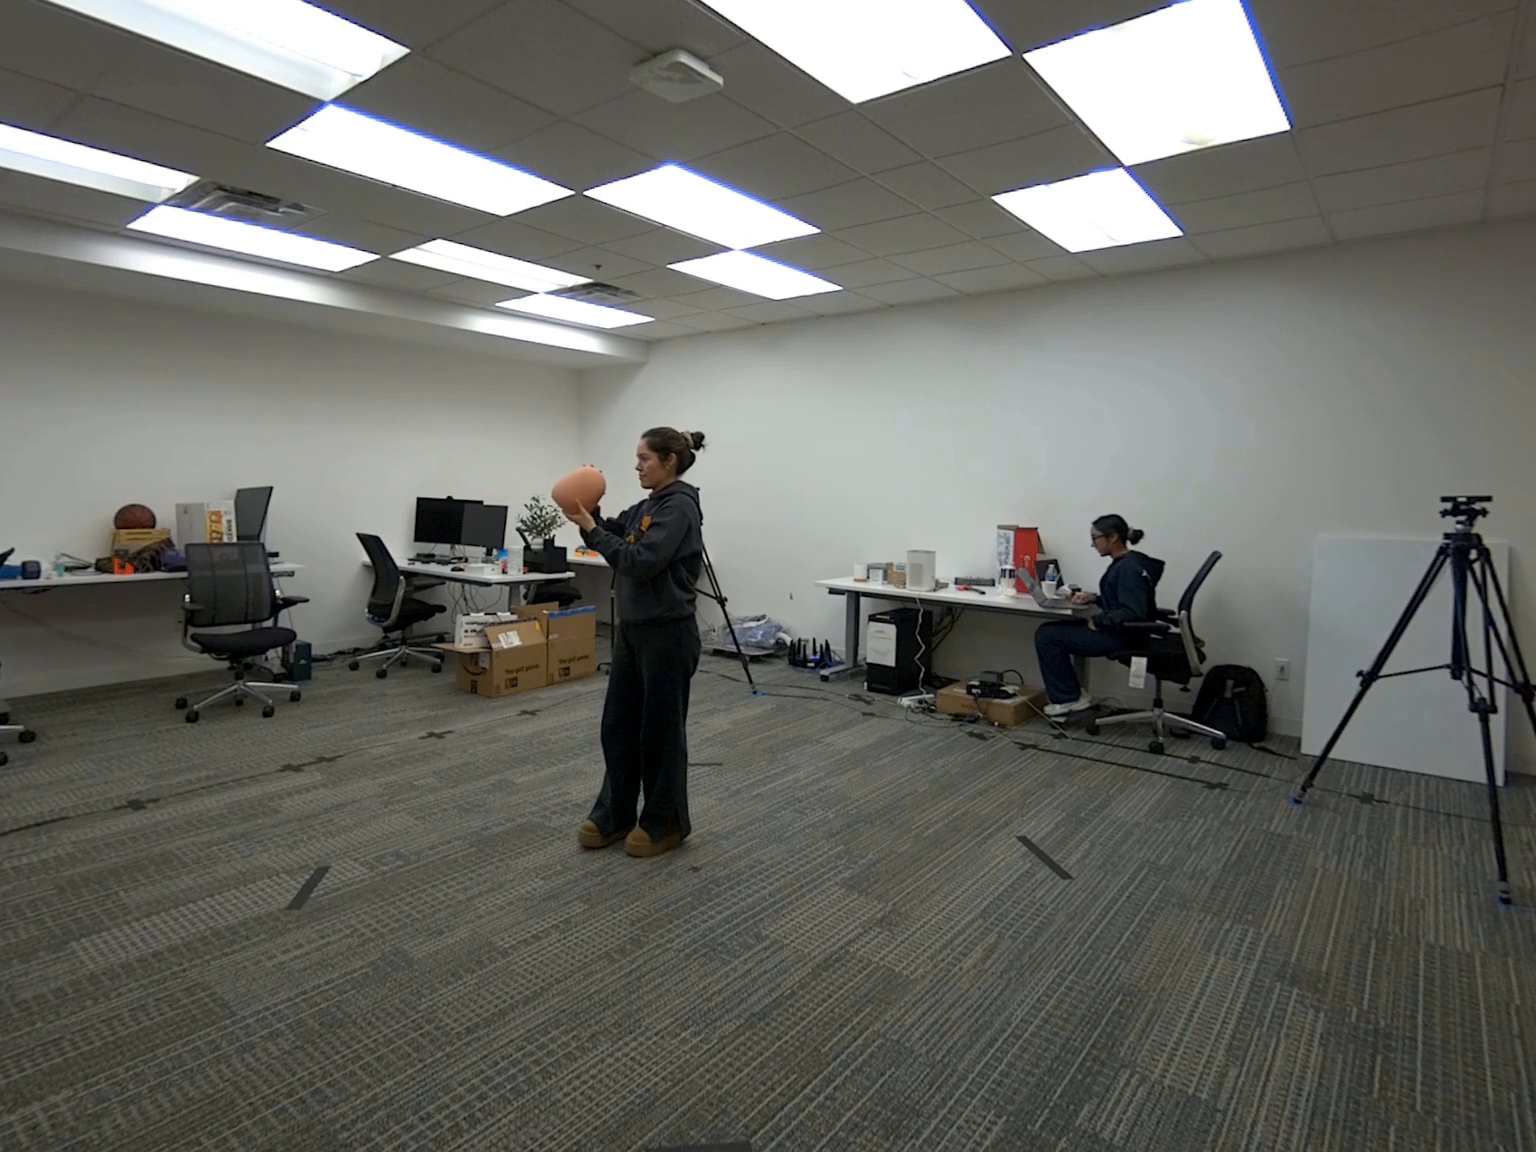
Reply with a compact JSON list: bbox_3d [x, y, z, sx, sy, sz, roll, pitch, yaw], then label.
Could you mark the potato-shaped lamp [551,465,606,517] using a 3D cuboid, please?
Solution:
[{"bbox_3d":[-0.704,-0.326,3.174,0.161,0.198,0.176,46,-5,-19],"label":"potato-shaped lamp"}]
